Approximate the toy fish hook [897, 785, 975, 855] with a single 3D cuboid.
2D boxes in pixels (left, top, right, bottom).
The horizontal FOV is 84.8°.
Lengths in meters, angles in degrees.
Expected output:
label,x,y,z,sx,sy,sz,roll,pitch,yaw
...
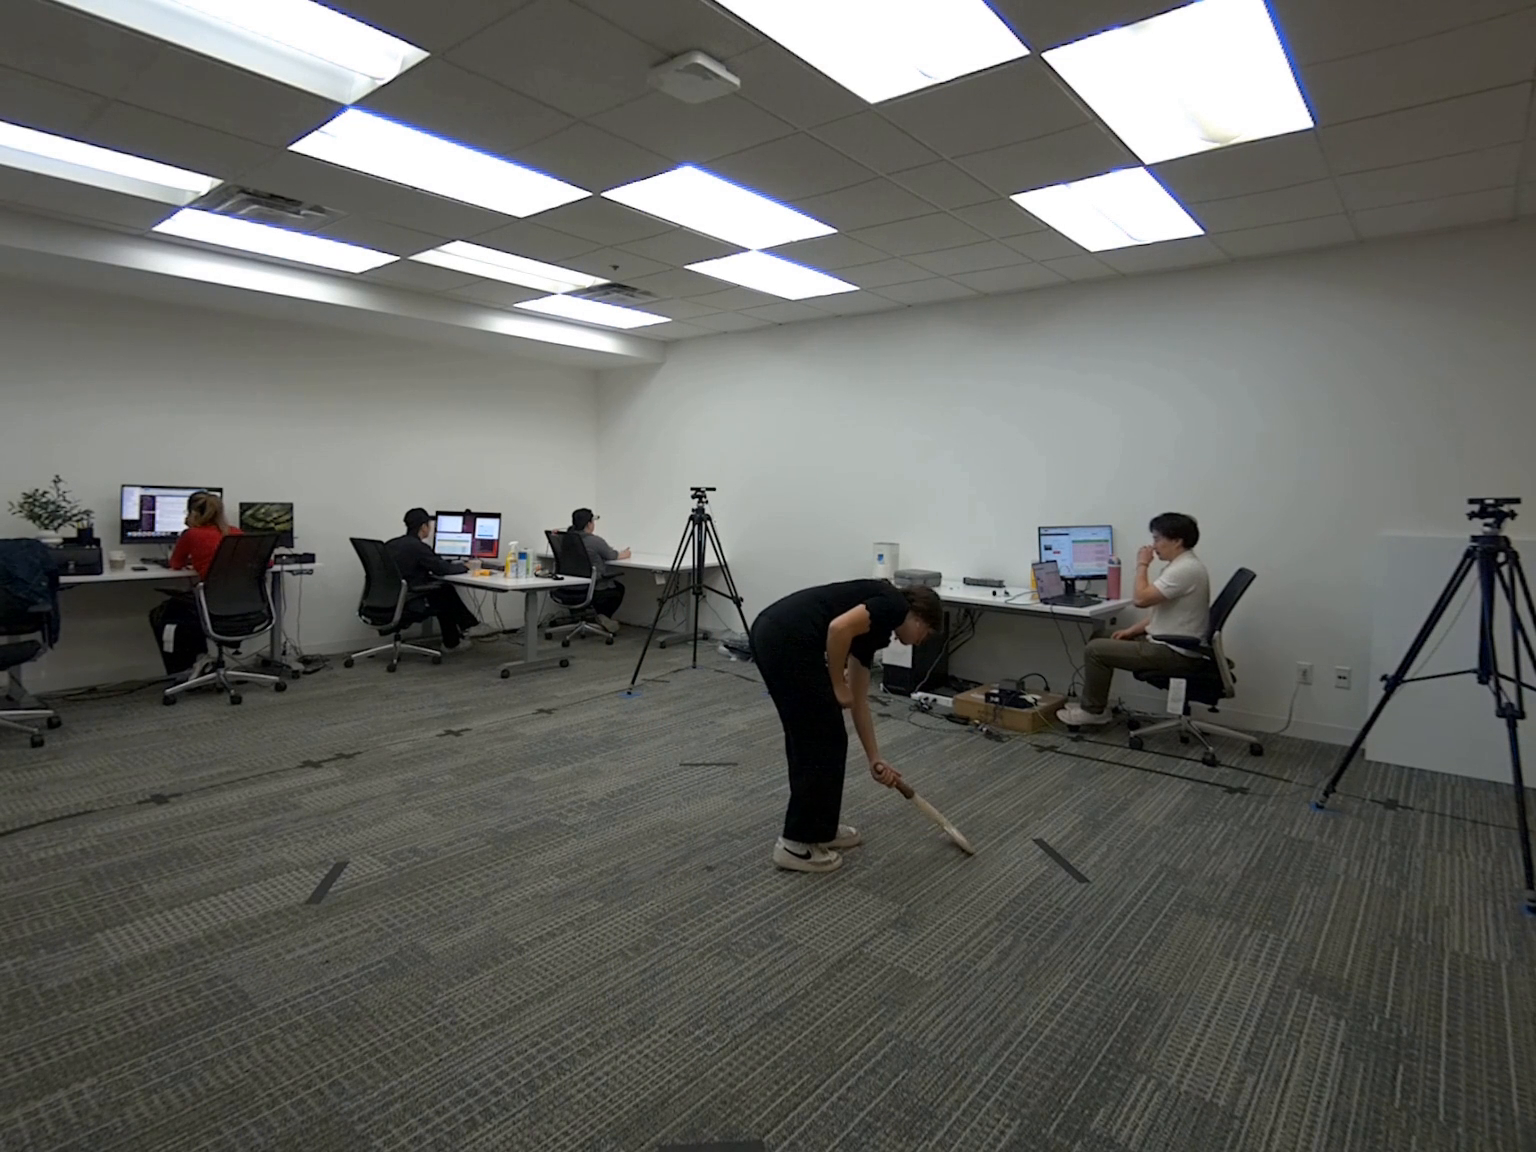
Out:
label,x,y,z,sx,sy,sz,roll,pitch,yaw
toy fish hook,0.595,0.886,3.286,0.499,0.048,0.228,41,-5,-11
